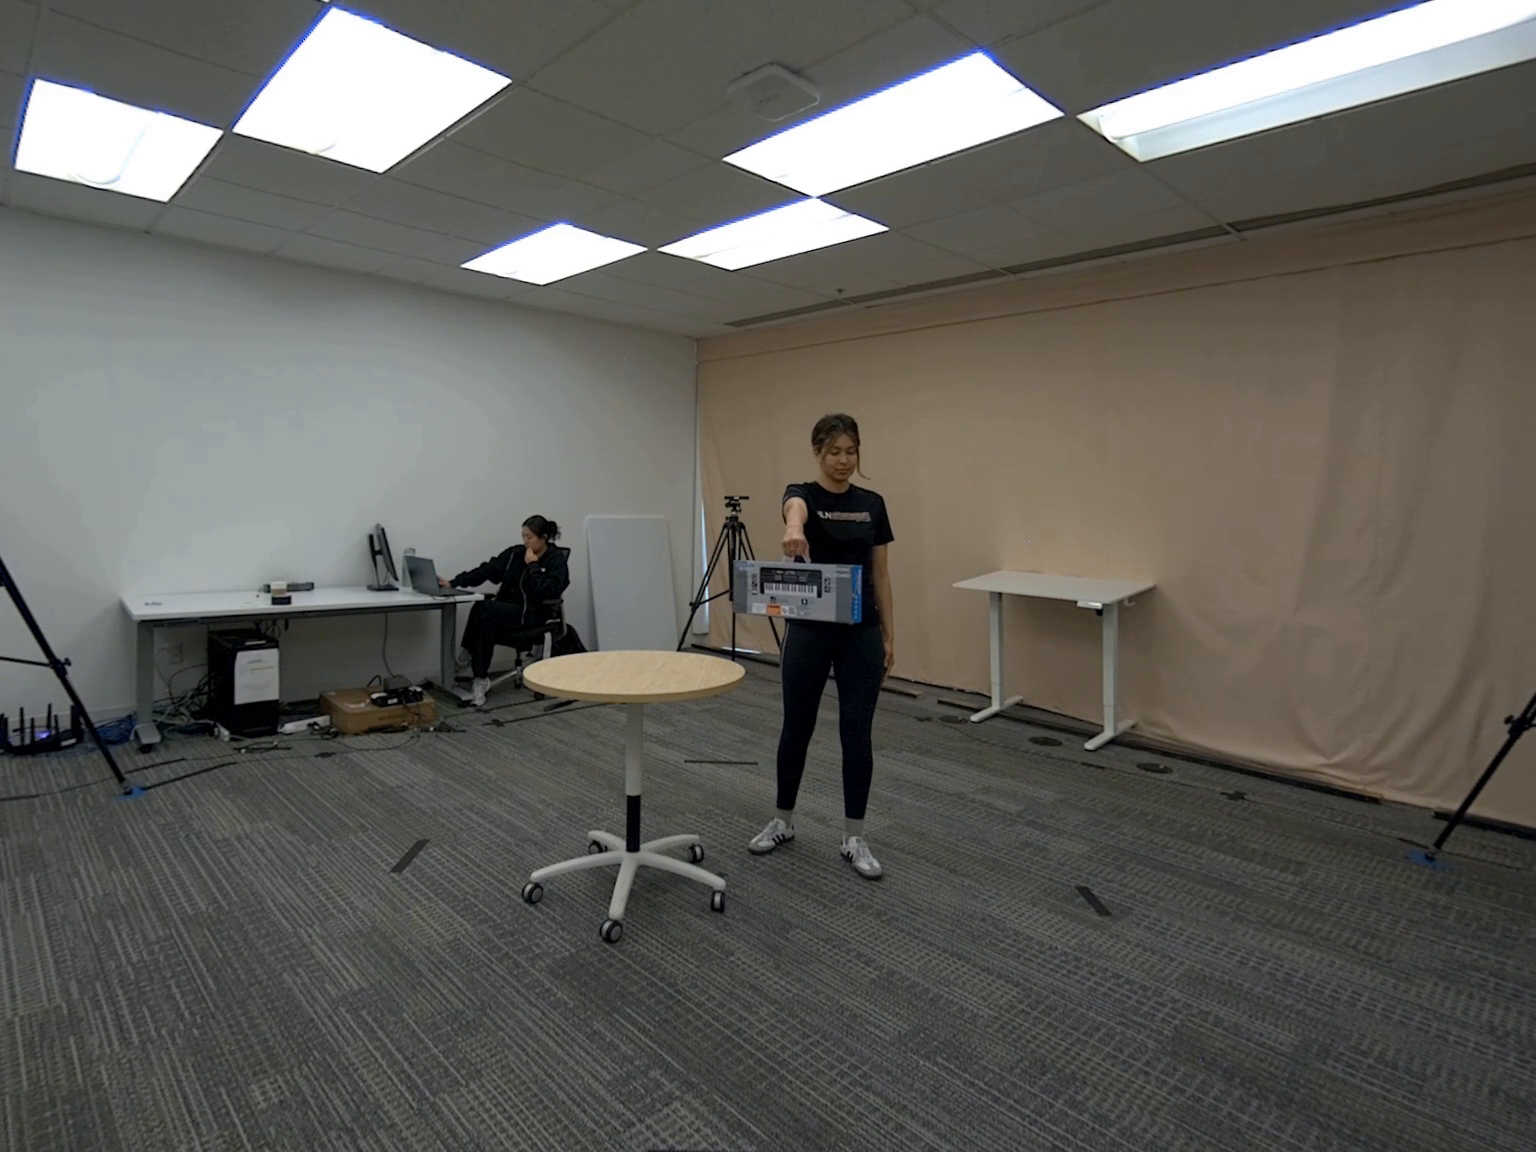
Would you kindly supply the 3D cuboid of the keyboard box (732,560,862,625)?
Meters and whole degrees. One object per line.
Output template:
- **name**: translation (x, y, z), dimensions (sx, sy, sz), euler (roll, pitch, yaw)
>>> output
- **keyboard box**: translation (0.080, 0.049, 2.628), dimensions (0.447, 0.176, 0.058), euler (3, 3, 35)
